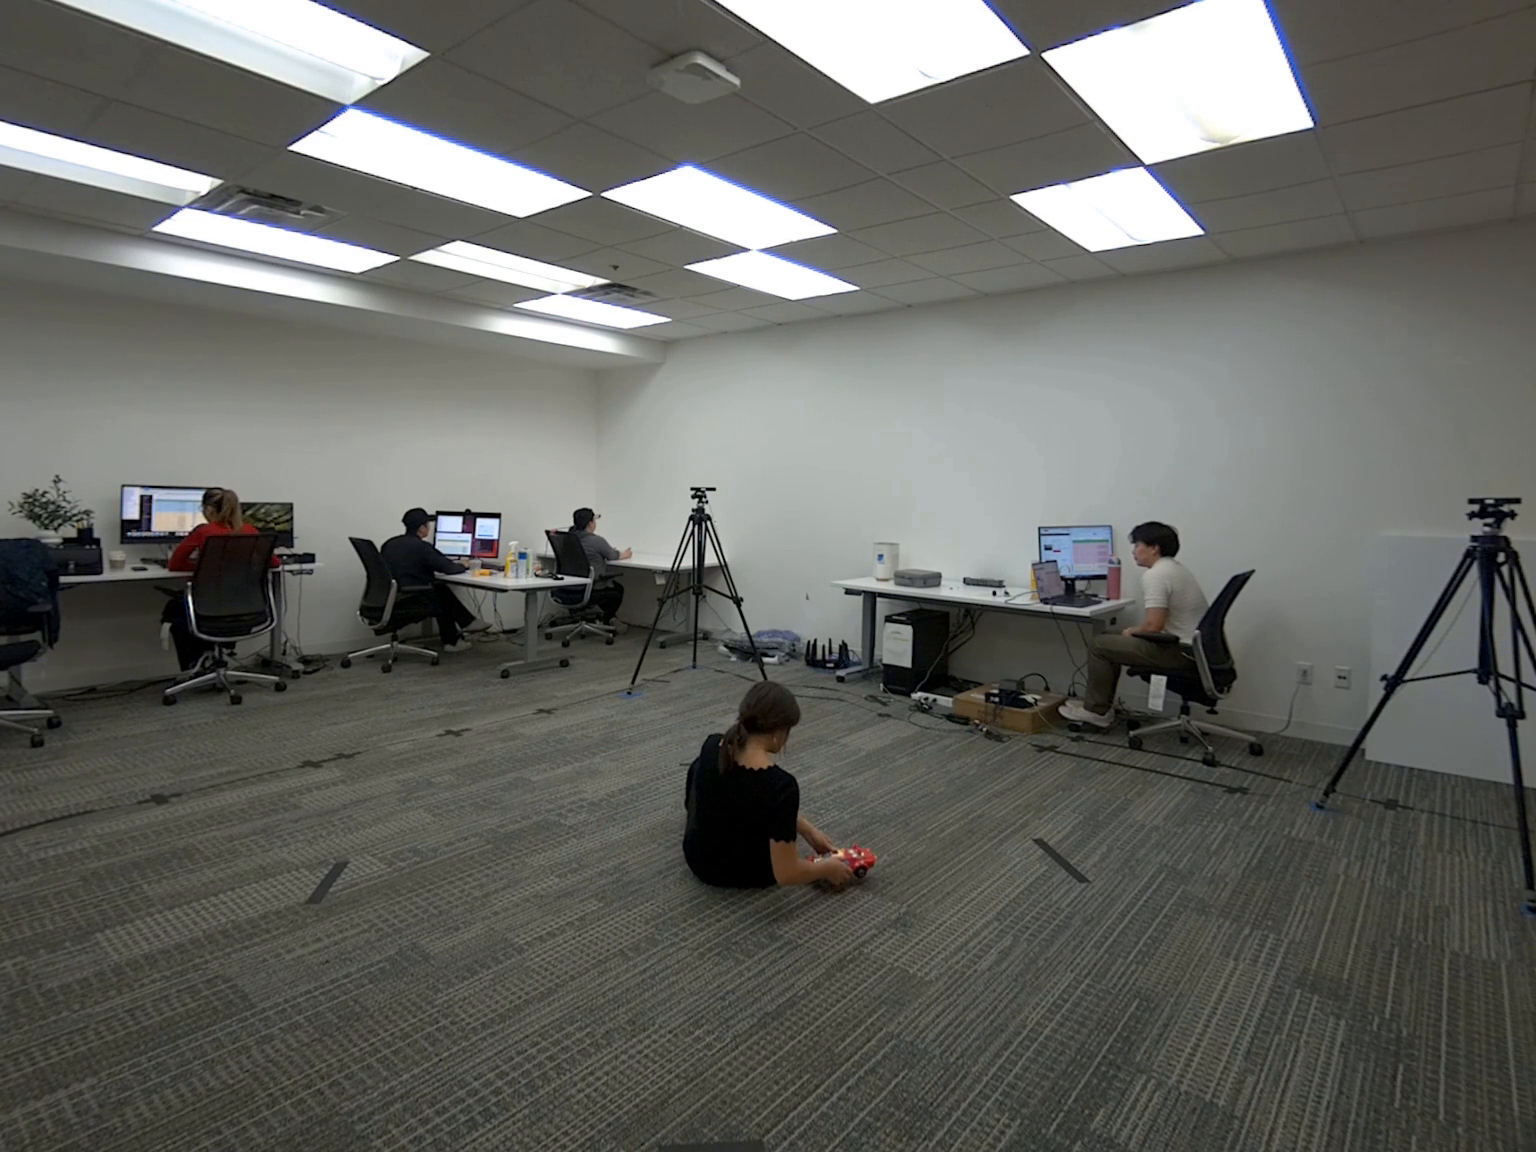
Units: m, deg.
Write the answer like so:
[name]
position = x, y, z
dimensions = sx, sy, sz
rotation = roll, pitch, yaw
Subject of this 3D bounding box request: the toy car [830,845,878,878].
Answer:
[toy car]
position = 0.258, 1.025, 3.033
dimensions = 0.252, 0.082, 0.134
rotation = -17, 17, -13
